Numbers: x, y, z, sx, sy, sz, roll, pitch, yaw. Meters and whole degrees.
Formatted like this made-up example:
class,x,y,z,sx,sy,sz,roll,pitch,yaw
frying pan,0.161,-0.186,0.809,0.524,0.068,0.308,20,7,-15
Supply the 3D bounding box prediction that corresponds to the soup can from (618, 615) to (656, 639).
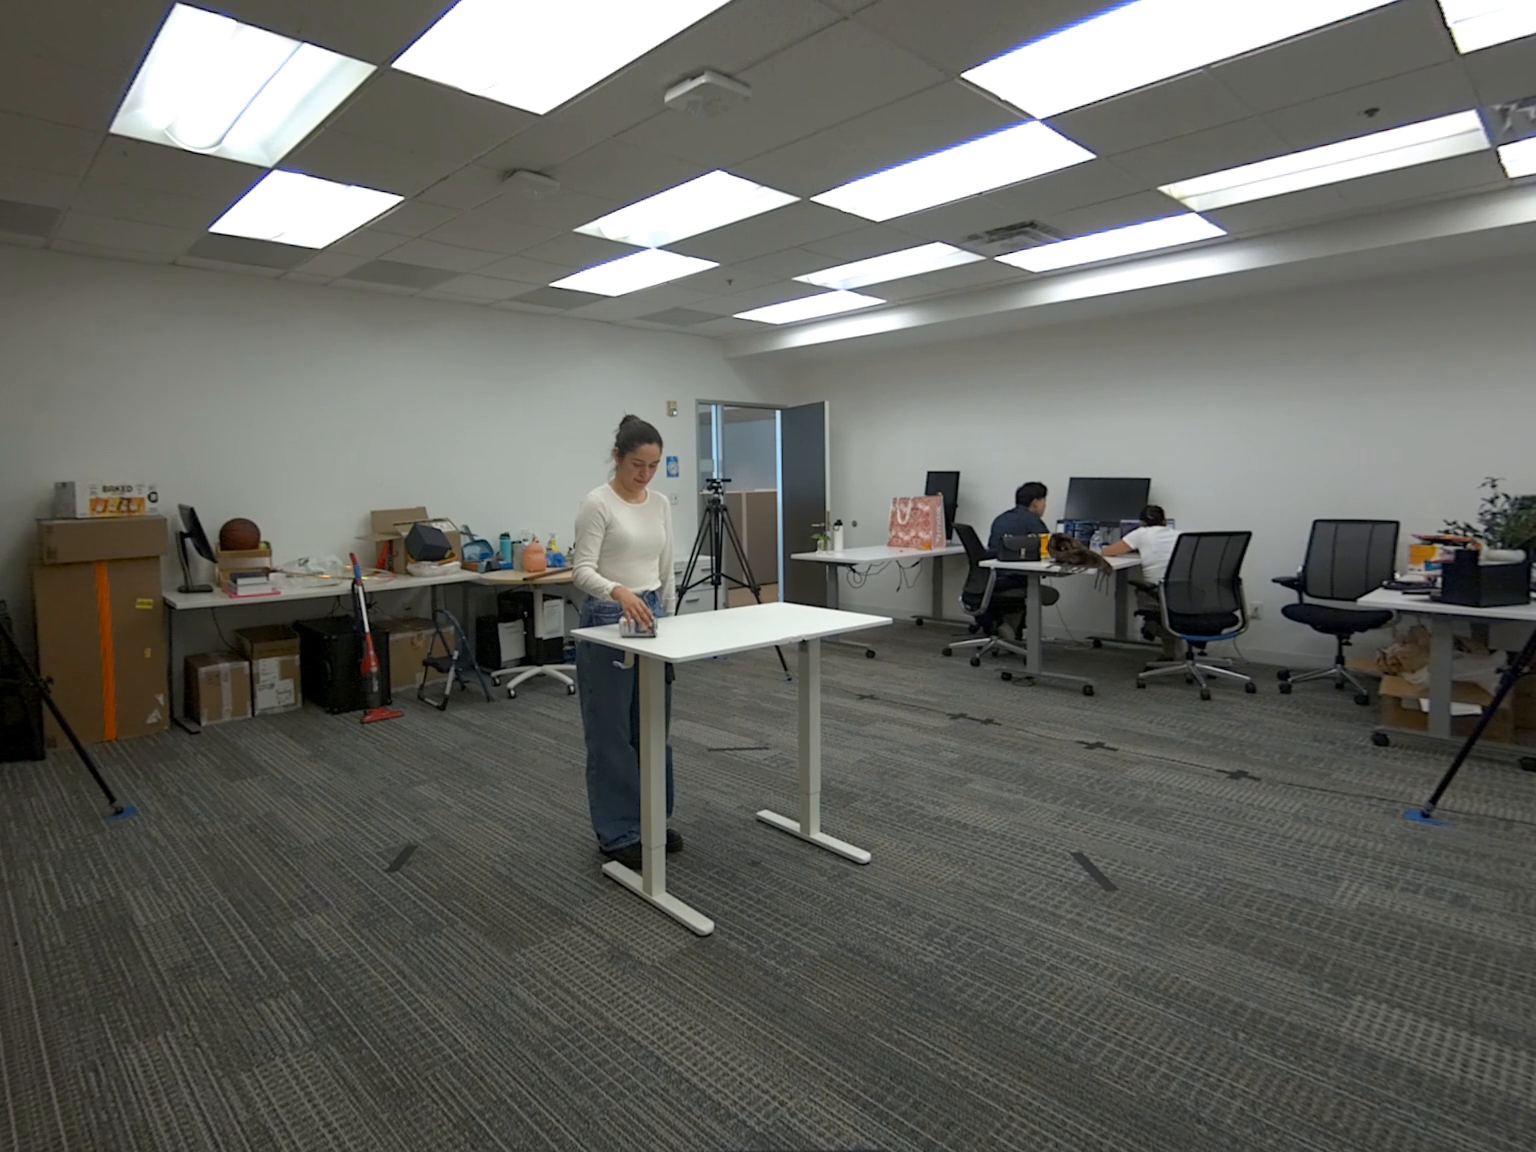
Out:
class,x,y,z,sx,sy,sz,roll,pitch,yaw
soup can,-0.429,0.168,2.804,0.122,0.067,0.067,-2,5,1
